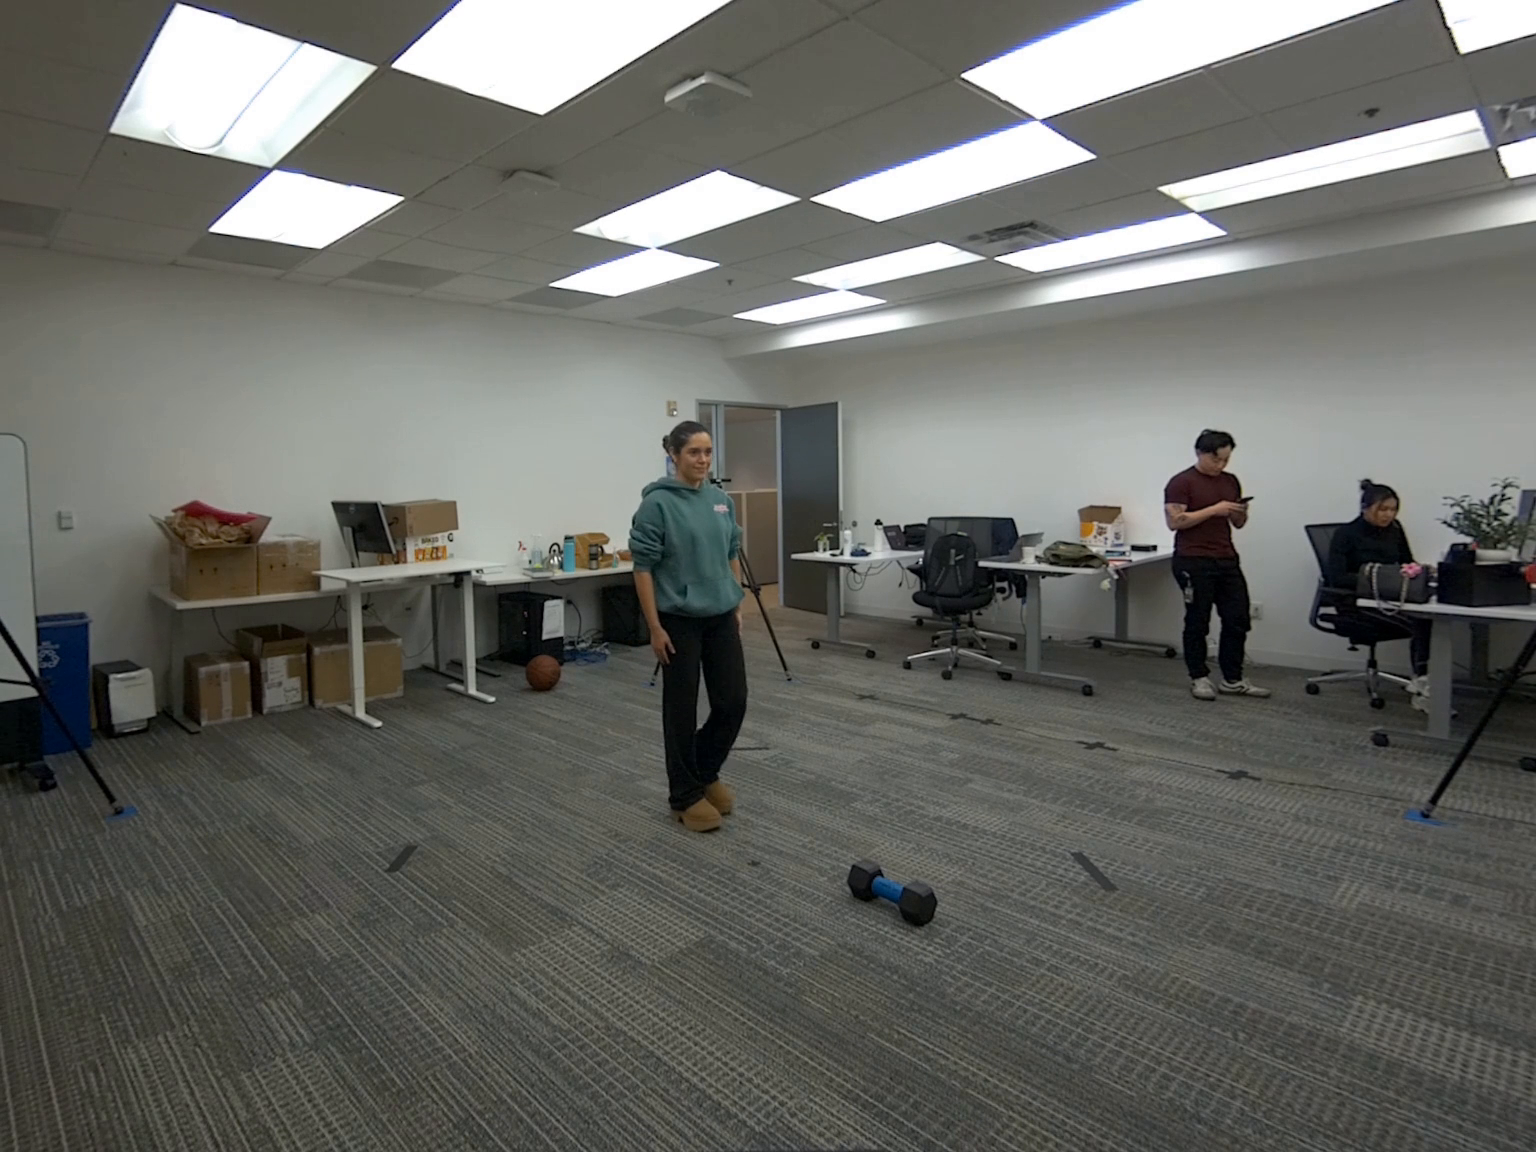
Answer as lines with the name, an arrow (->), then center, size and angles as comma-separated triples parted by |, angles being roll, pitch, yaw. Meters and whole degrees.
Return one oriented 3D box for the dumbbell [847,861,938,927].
dumbbell -> 0.405, 1.022, 2.761 | 0.105, 0.124, 0.303 | 32, -17, -38
